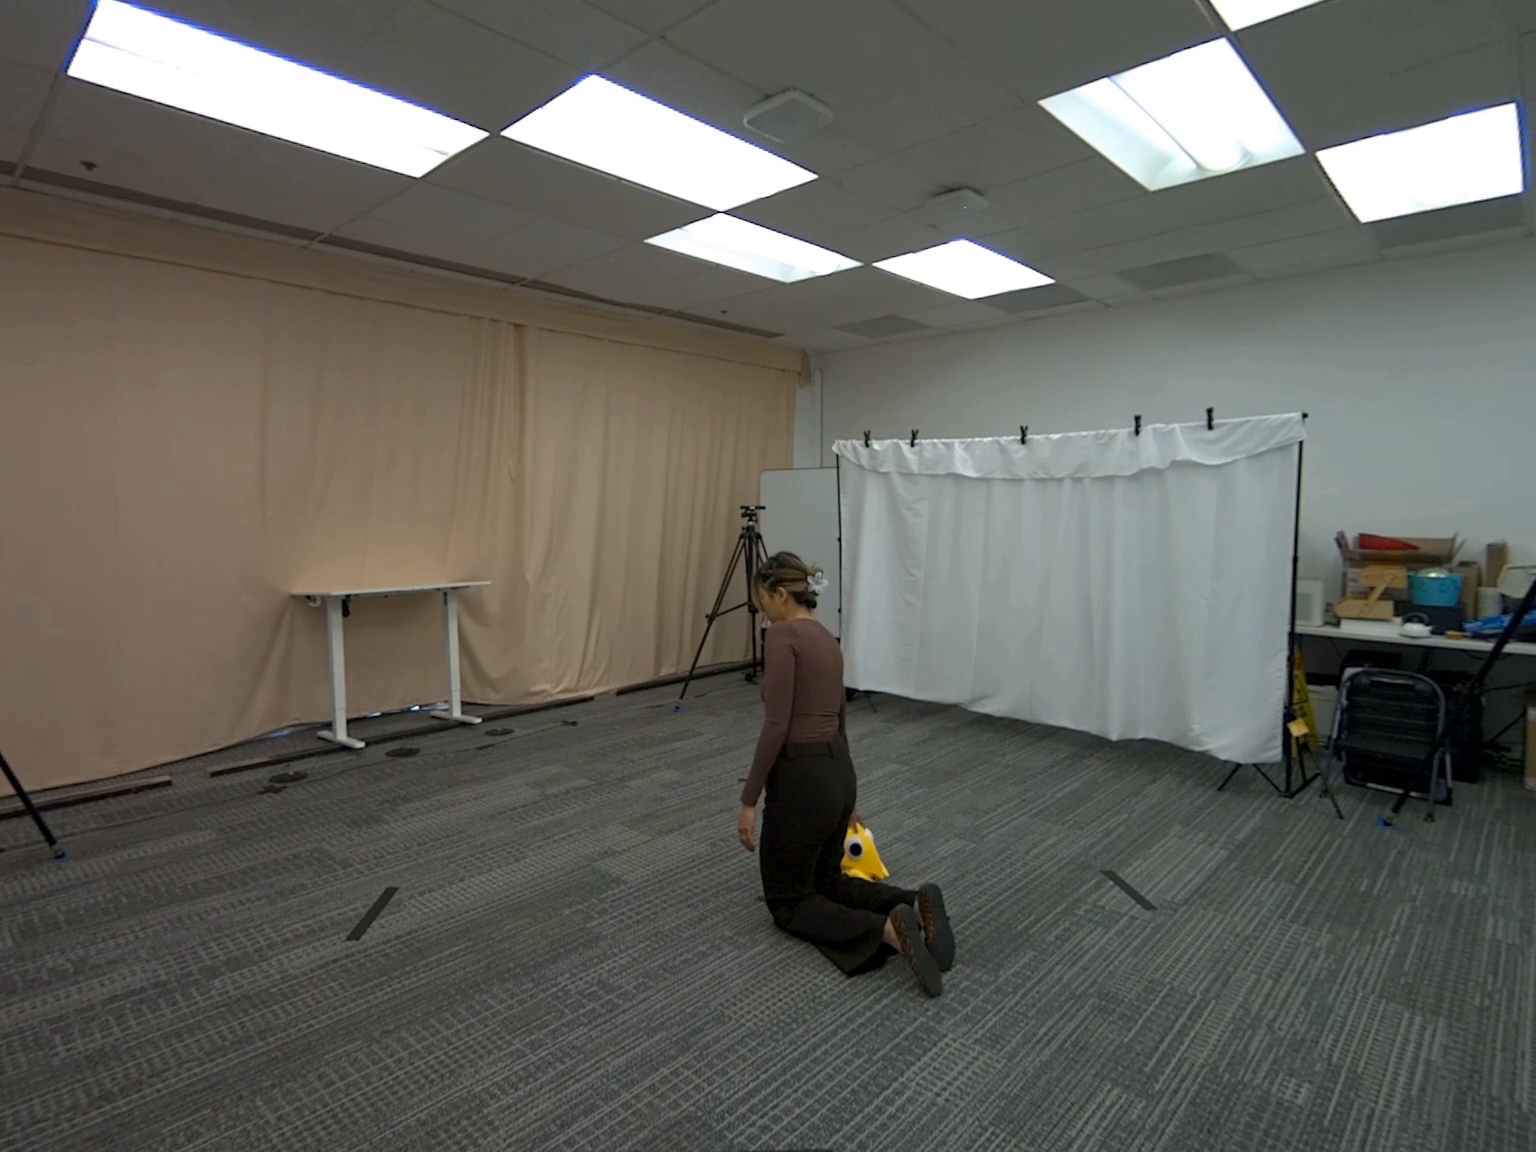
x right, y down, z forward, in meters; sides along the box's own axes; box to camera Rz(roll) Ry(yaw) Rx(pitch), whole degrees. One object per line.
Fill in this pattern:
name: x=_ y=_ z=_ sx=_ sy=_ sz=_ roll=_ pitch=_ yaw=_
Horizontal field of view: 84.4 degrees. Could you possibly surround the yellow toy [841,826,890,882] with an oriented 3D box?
yellow toy: x=0.344 y=1.015 z=3.153 sx=0.199 sy=0.230 sz=0.199 roll=2 pitch=4 yaw=31
